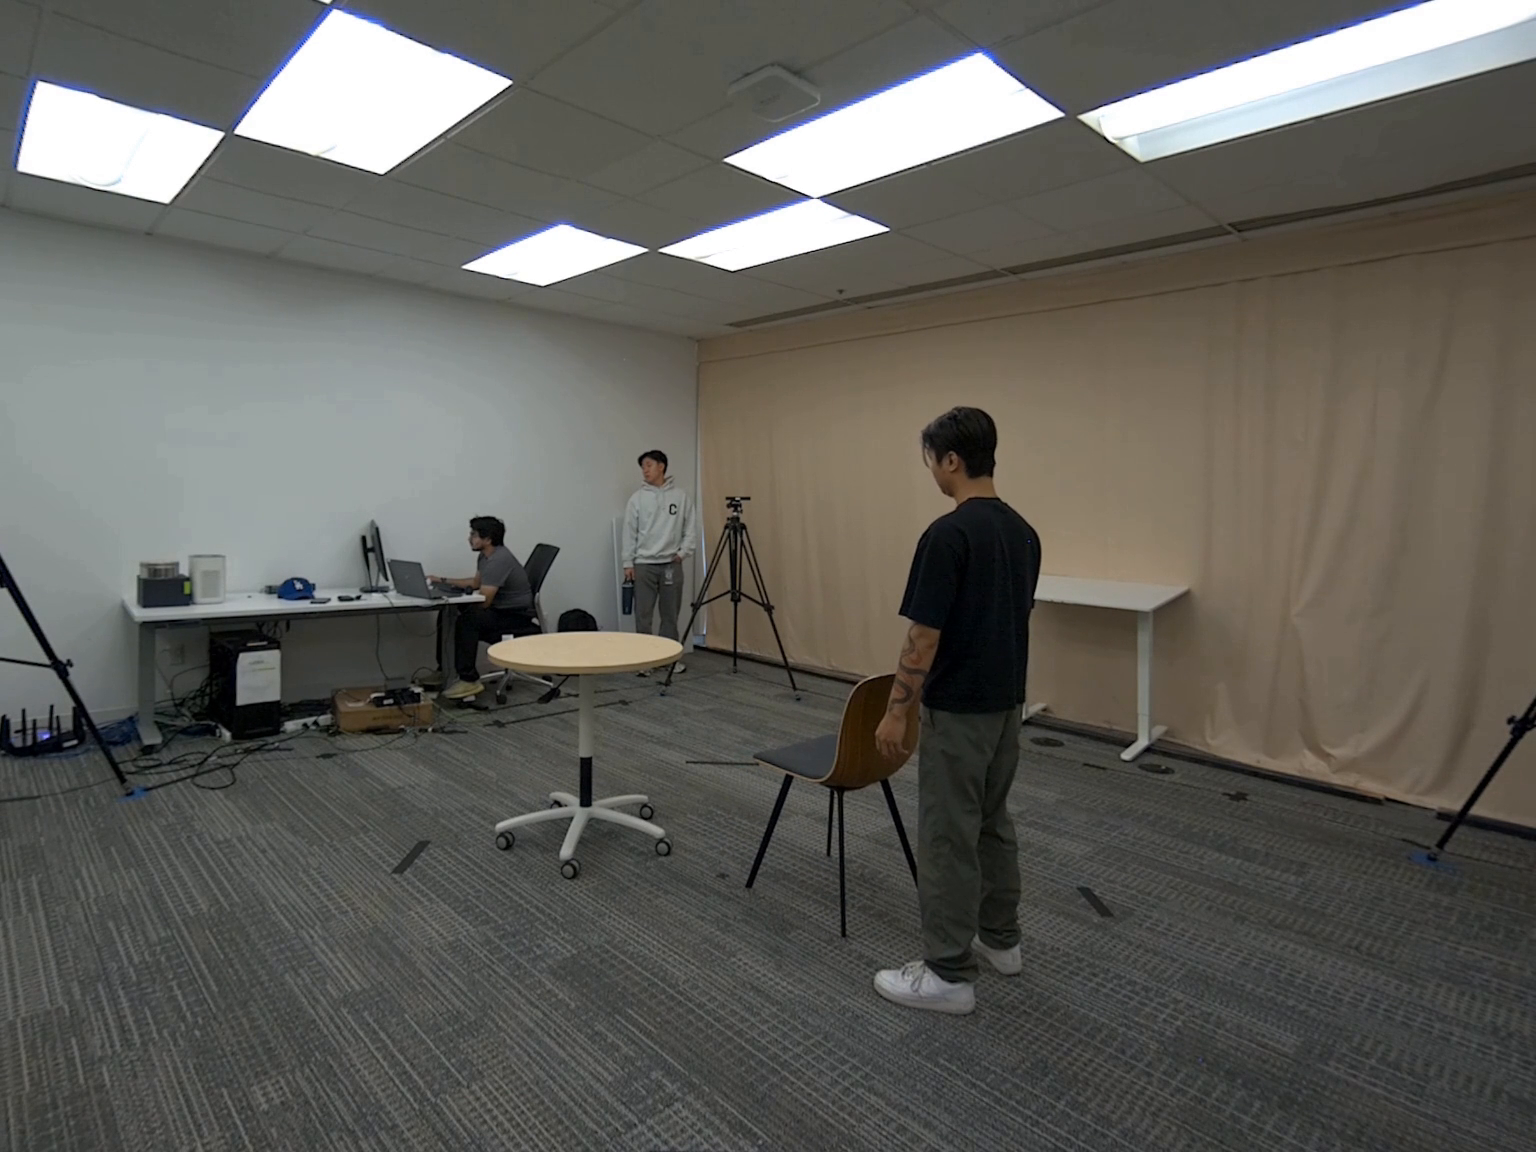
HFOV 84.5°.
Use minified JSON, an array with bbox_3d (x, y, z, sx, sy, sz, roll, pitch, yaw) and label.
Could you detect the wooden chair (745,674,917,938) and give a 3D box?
[{"bbox_3d":[0.234,0.701,2.969,0.467,0.873,0.537,-2,9,-44],"label":"wooden chair"}]
